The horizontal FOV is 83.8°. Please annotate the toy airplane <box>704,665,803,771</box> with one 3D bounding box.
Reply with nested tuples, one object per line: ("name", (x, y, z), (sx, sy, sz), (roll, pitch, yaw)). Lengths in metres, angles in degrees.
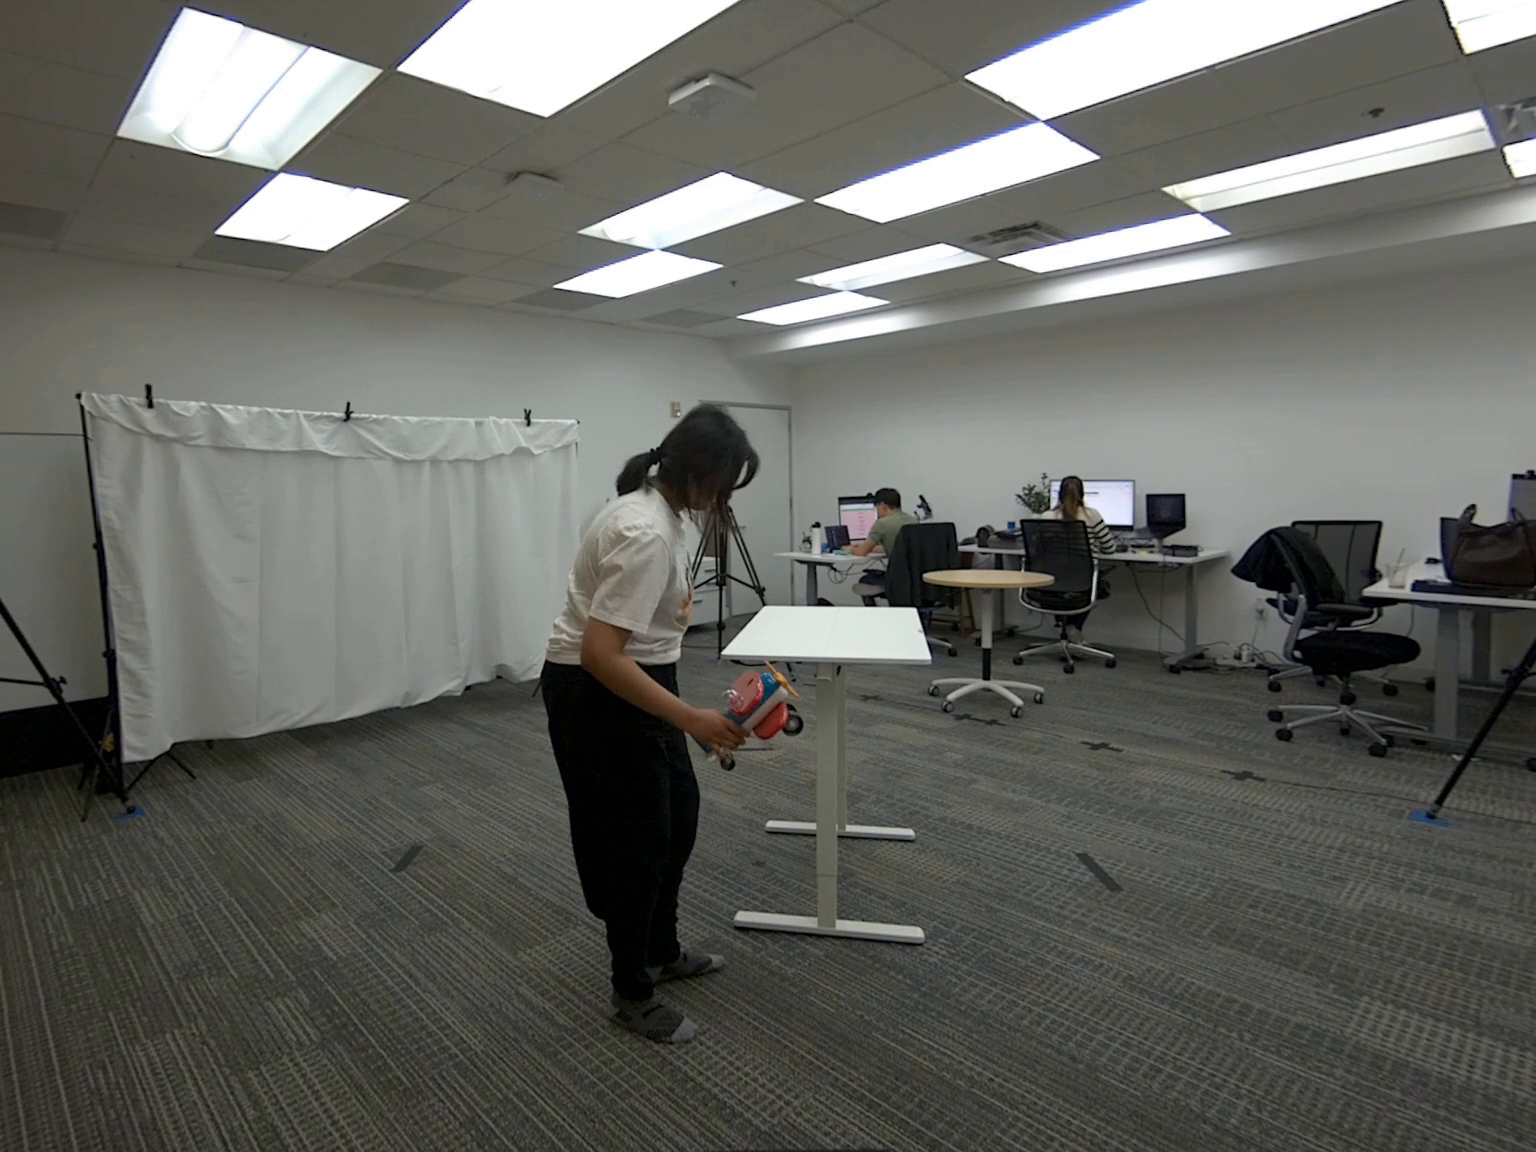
("toy airplane", (-0.041, 0.342, 1.995), (0.257, 0.155, 0.255), (-36, 11, -28))
